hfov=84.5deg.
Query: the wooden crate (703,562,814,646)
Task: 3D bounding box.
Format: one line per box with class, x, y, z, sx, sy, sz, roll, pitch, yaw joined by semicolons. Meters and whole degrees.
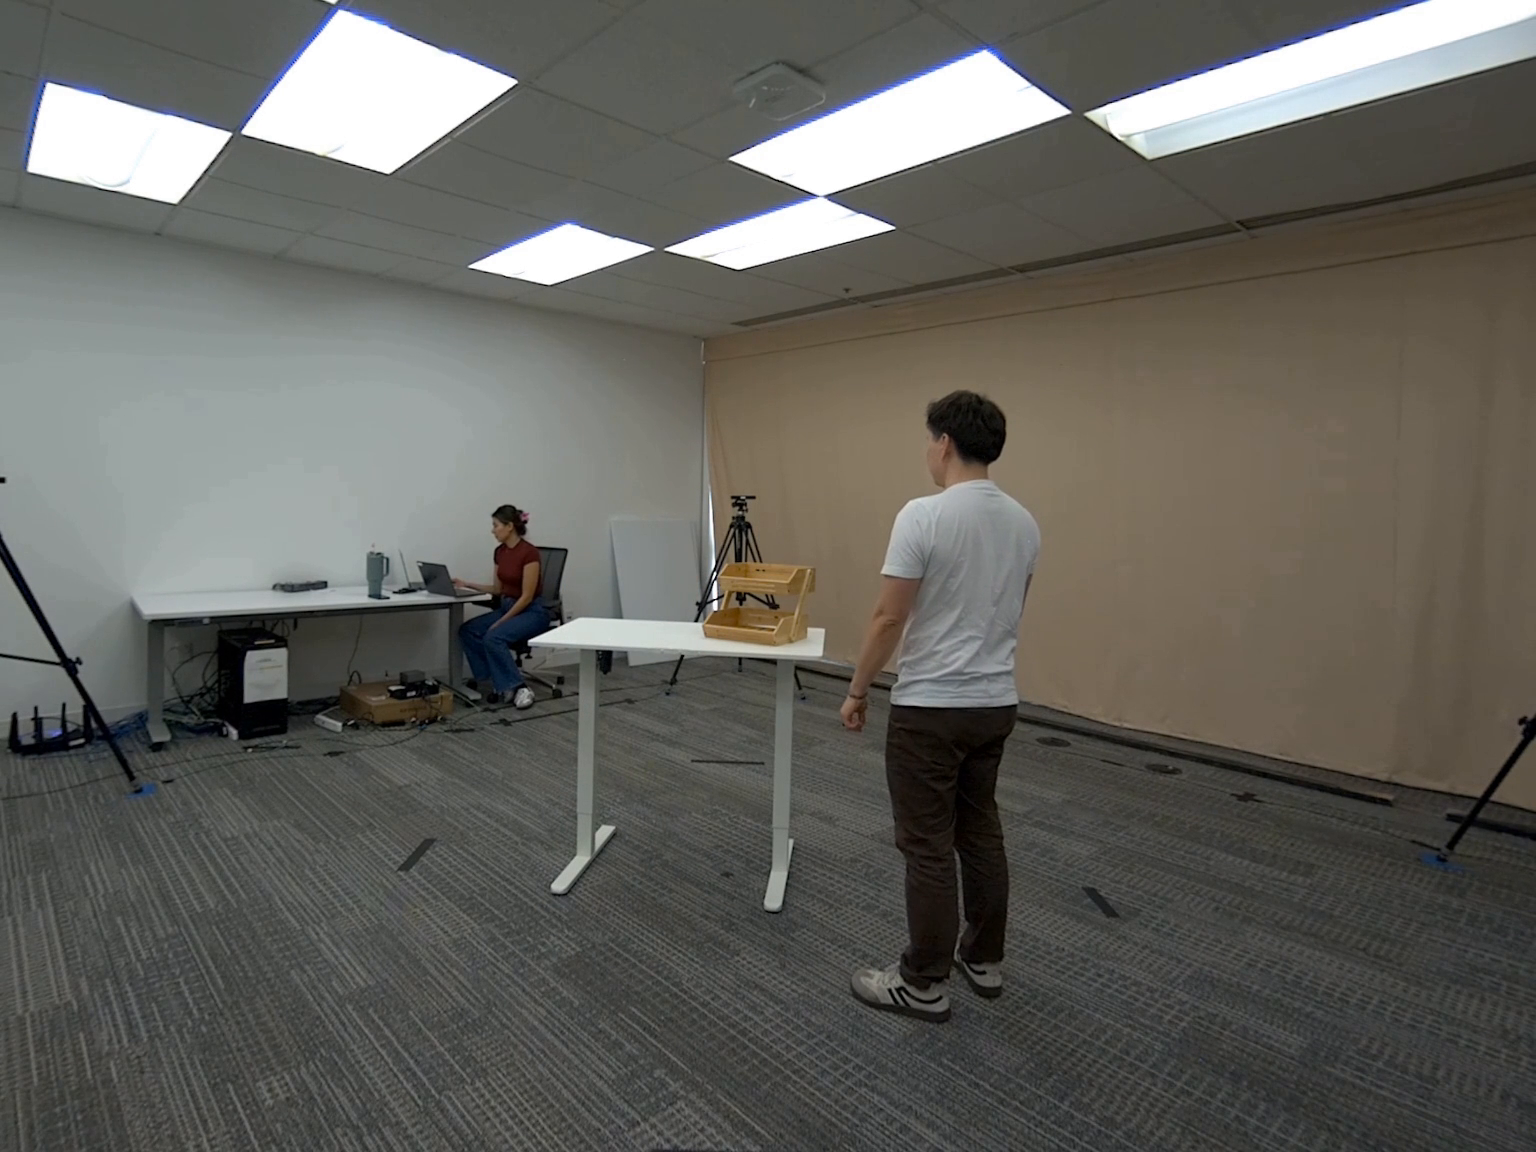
wooden crate;-0.044;0.093;3.091;0.331;0.273;0.296;4;4;30
